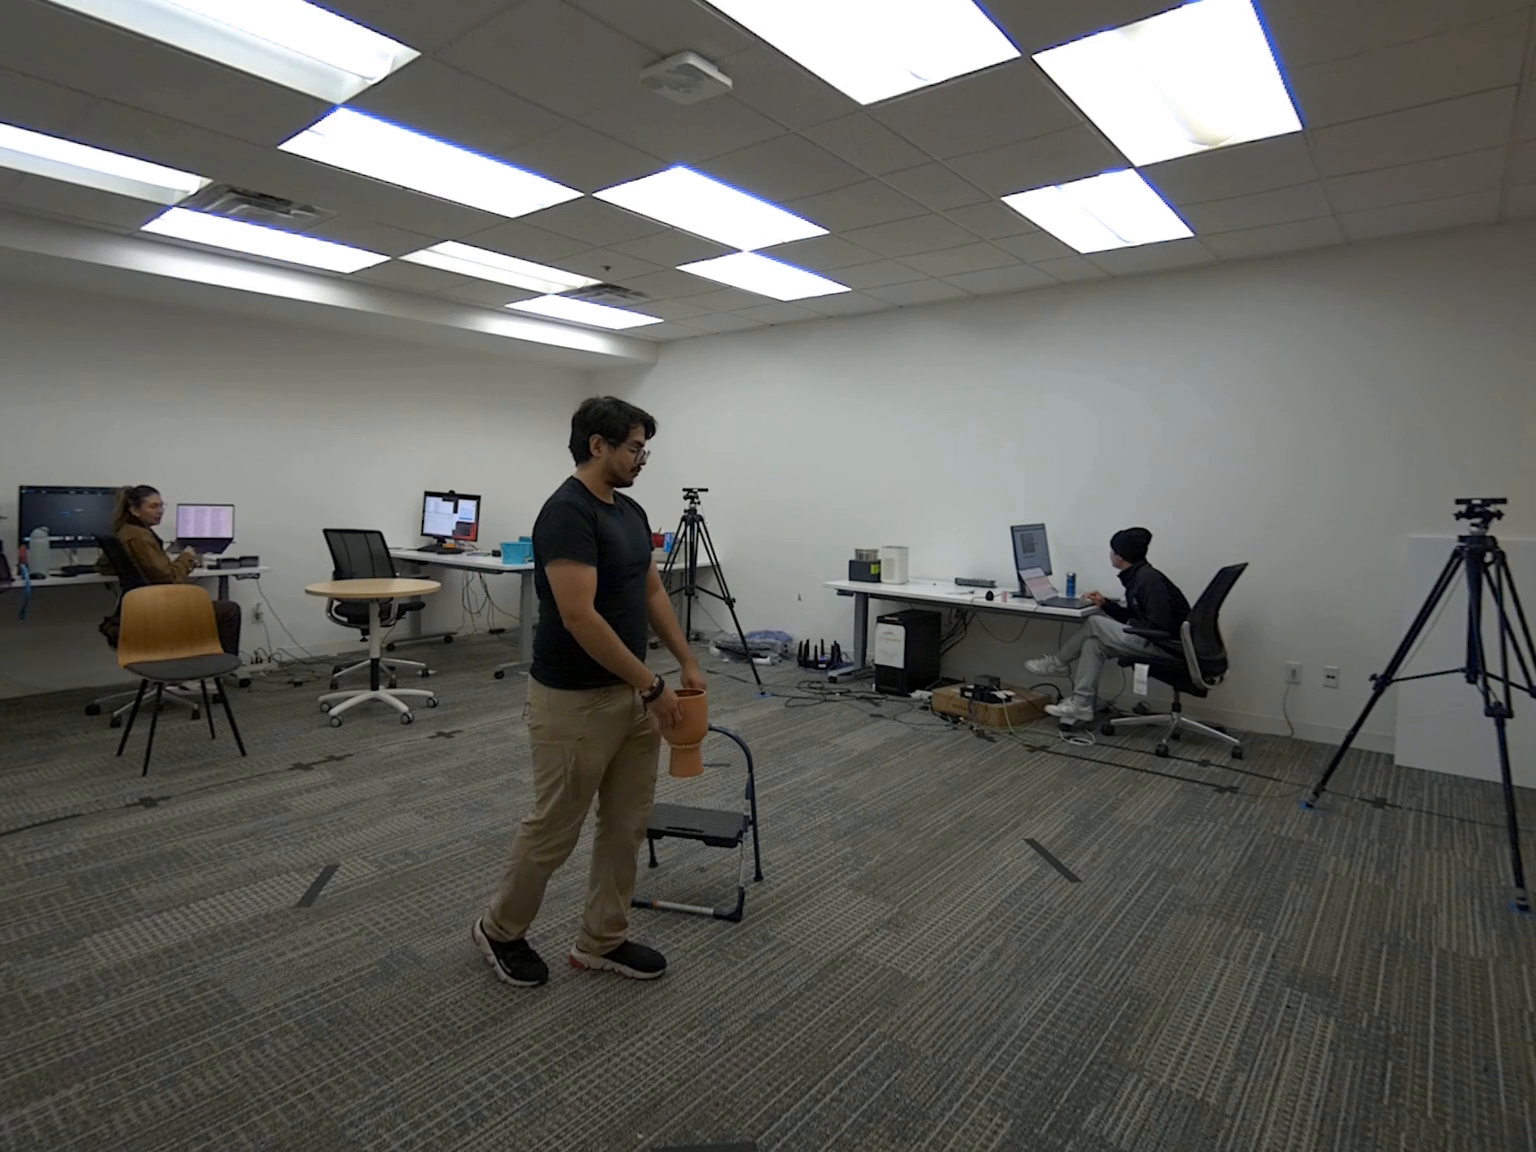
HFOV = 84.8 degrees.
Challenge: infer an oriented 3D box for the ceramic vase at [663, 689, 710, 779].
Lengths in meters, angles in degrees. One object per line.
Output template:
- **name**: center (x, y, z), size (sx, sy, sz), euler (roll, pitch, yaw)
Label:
- **ceramic vase**: center (-0.253, 0.439, 2.349), size (0.154, 0.219, 0.138), euler (-4, 2, -36)
